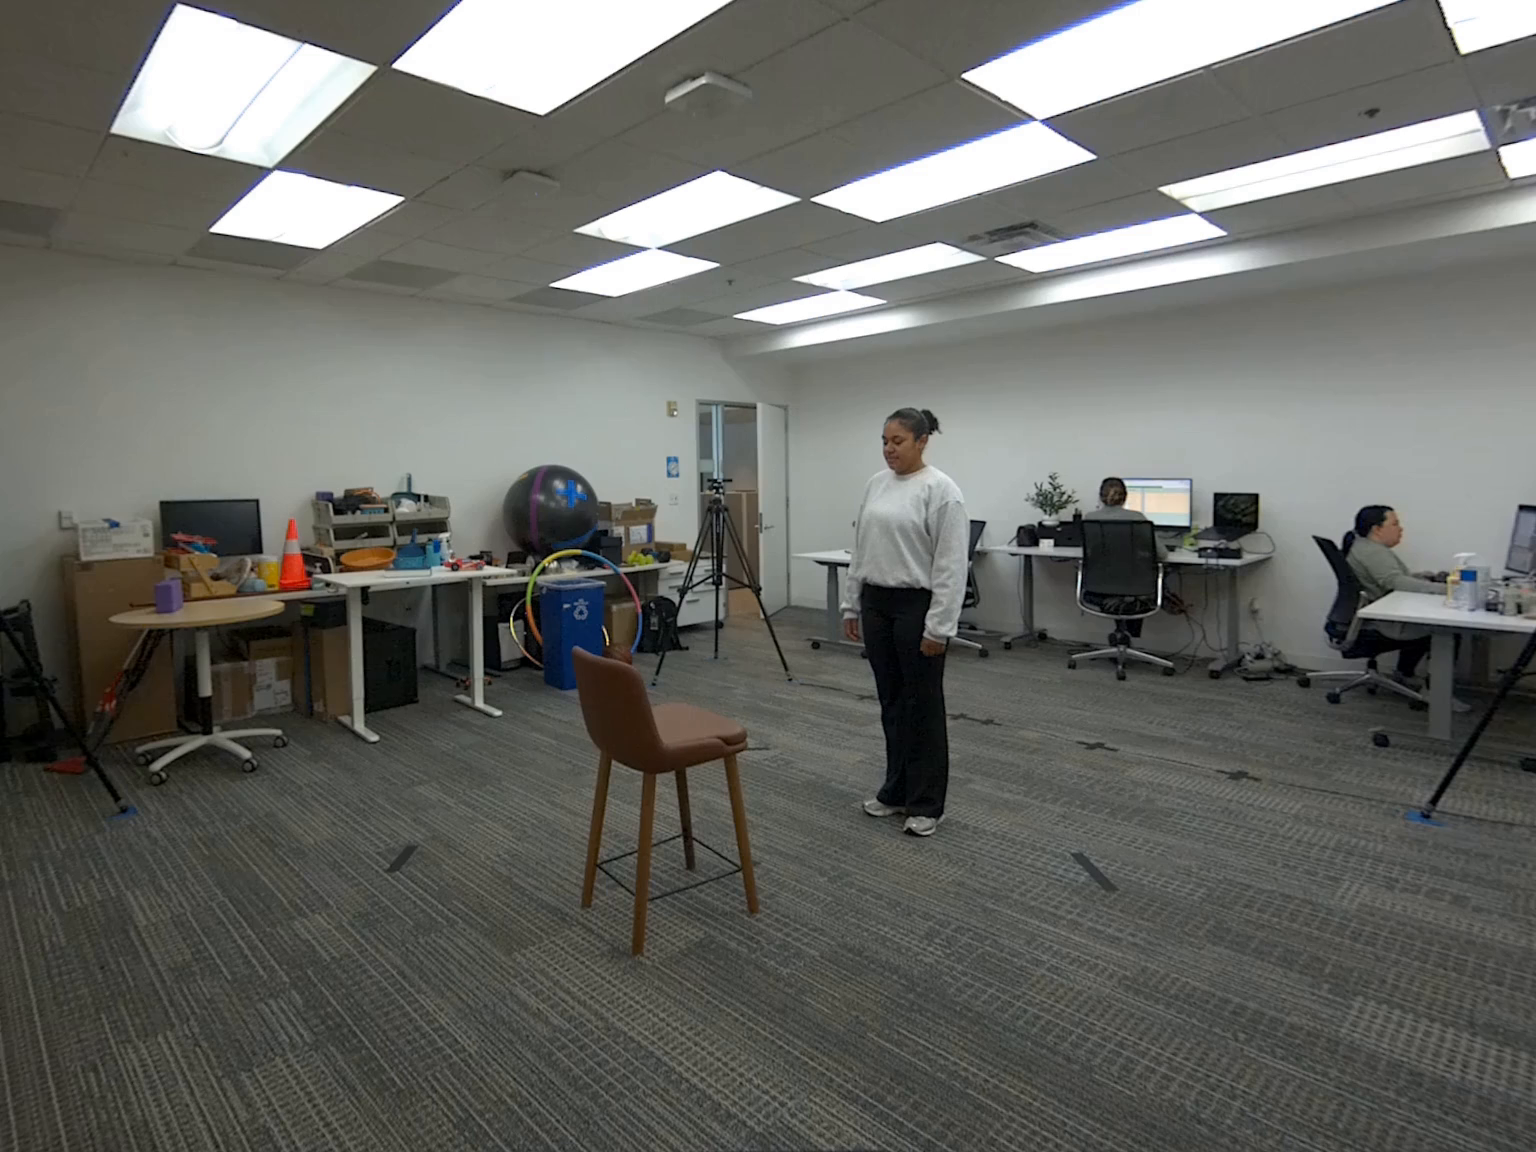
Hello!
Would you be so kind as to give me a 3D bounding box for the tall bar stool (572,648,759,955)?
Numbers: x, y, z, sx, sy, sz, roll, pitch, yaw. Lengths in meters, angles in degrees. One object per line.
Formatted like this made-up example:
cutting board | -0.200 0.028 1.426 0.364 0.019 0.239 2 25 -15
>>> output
tall bar stool | -0.339 0.656 2.763 0.456 0.885 0.470 -7 7 -36
